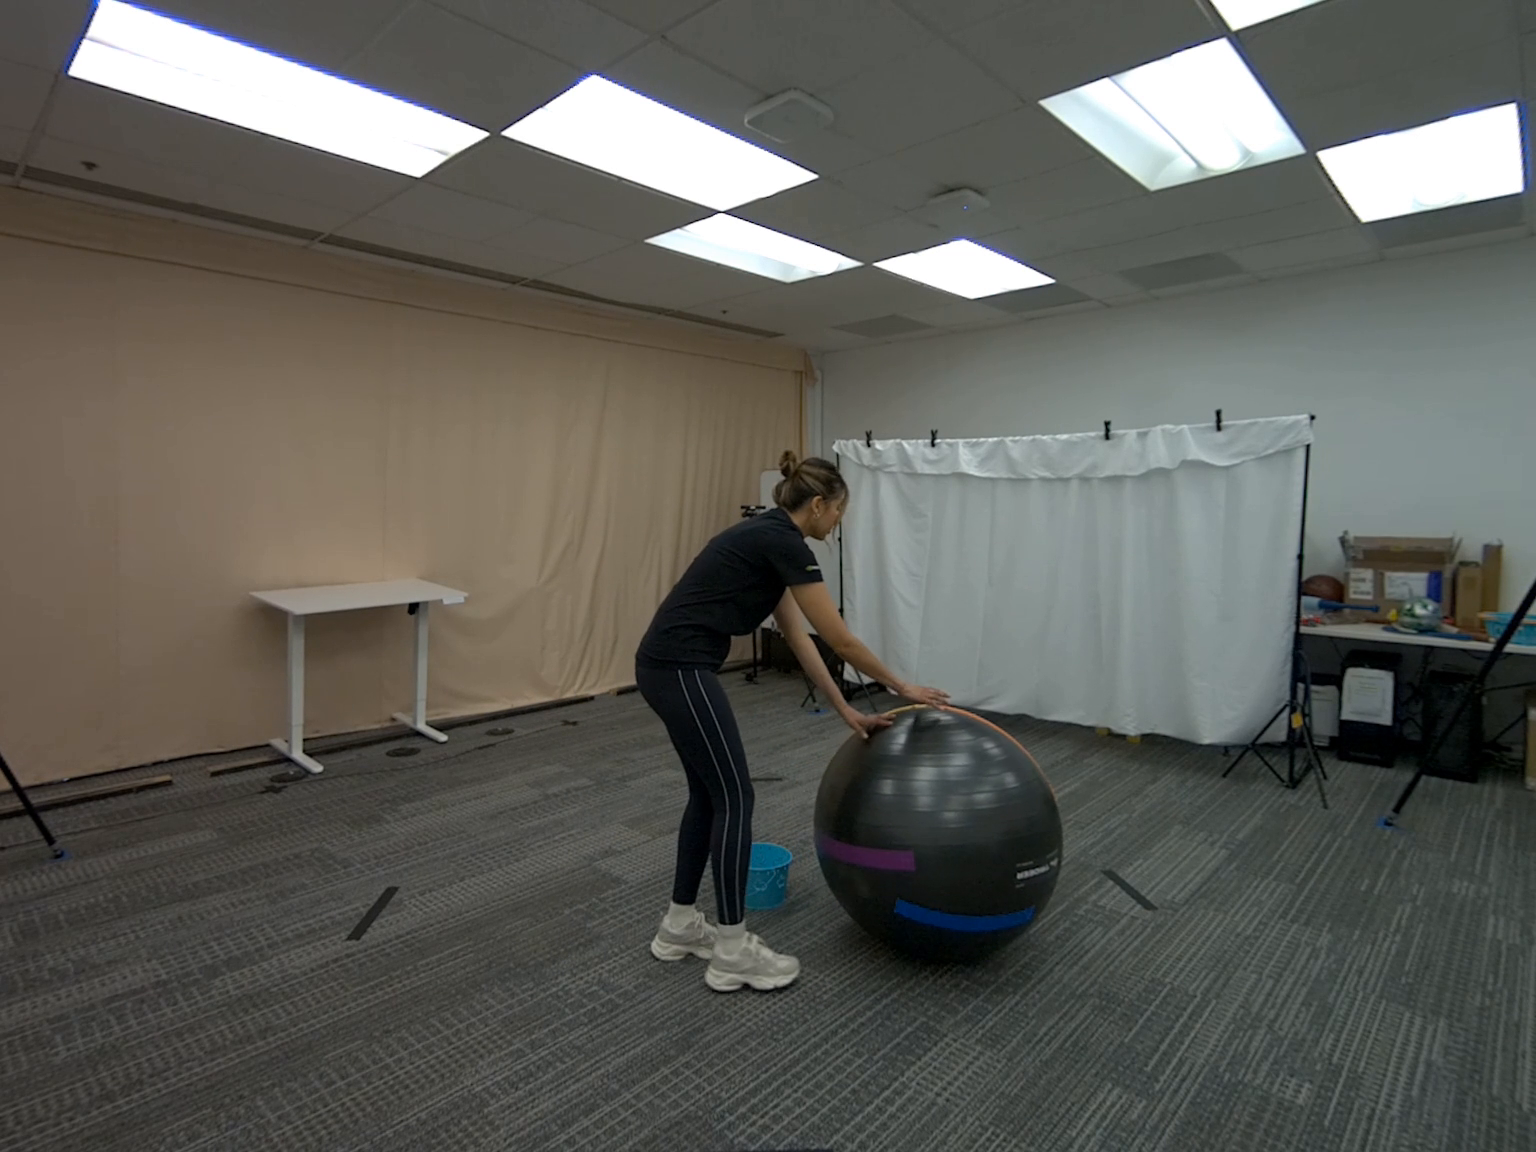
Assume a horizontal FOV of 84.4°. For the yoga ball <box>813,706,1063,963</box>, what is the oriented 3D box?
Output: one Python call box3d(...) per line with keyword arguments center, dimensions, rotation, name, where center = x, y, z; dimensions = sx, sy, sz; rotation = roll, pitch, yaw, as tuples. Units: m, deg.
box3d(center=(0.536, 0.800, 2.660), dimensions=(0.757, 0.756, 0.760), rotation=(0, 4, -2), name="yoga ball")
